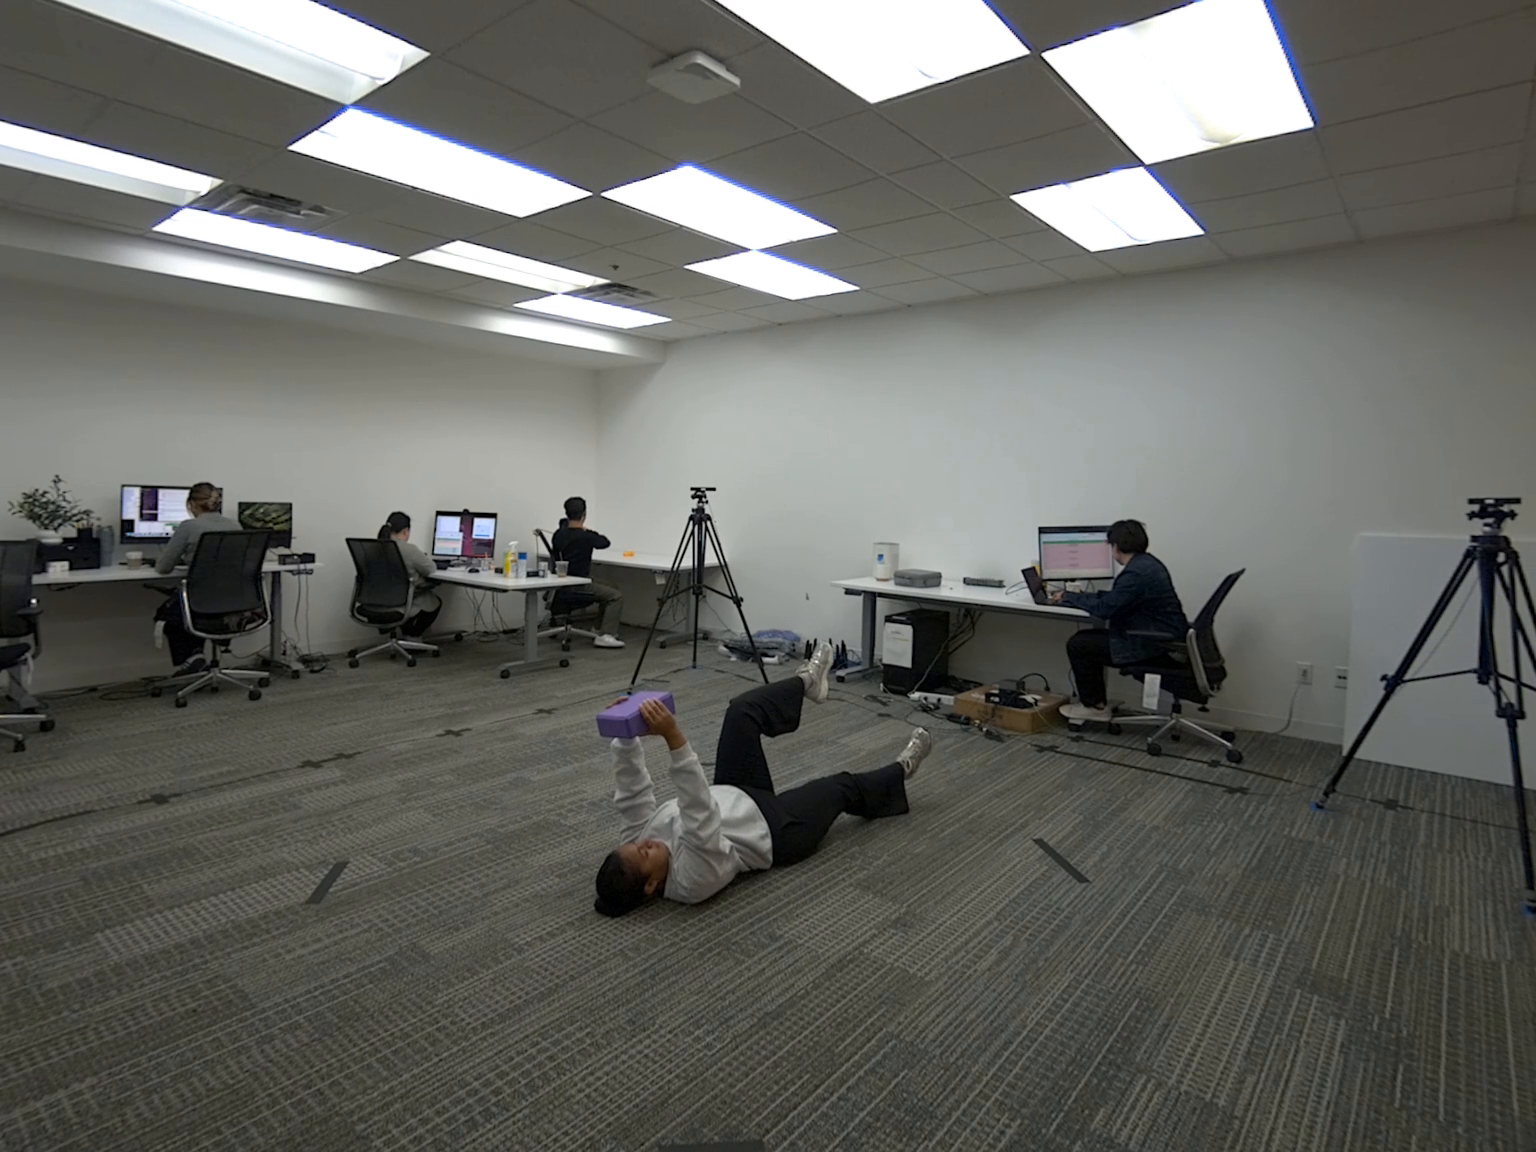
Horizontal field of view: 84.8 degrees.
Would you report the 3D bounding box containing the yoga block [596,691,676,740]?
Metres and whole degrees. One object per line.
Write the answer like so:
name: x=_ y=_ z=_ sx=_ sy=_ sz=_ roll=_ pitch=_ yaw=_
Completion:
yoga block: x=-0.451 y=0.454 z=2.779 sx=0.153 sy=0.076 sz=0.225 roll=-5 pitch=12 yaw=36
